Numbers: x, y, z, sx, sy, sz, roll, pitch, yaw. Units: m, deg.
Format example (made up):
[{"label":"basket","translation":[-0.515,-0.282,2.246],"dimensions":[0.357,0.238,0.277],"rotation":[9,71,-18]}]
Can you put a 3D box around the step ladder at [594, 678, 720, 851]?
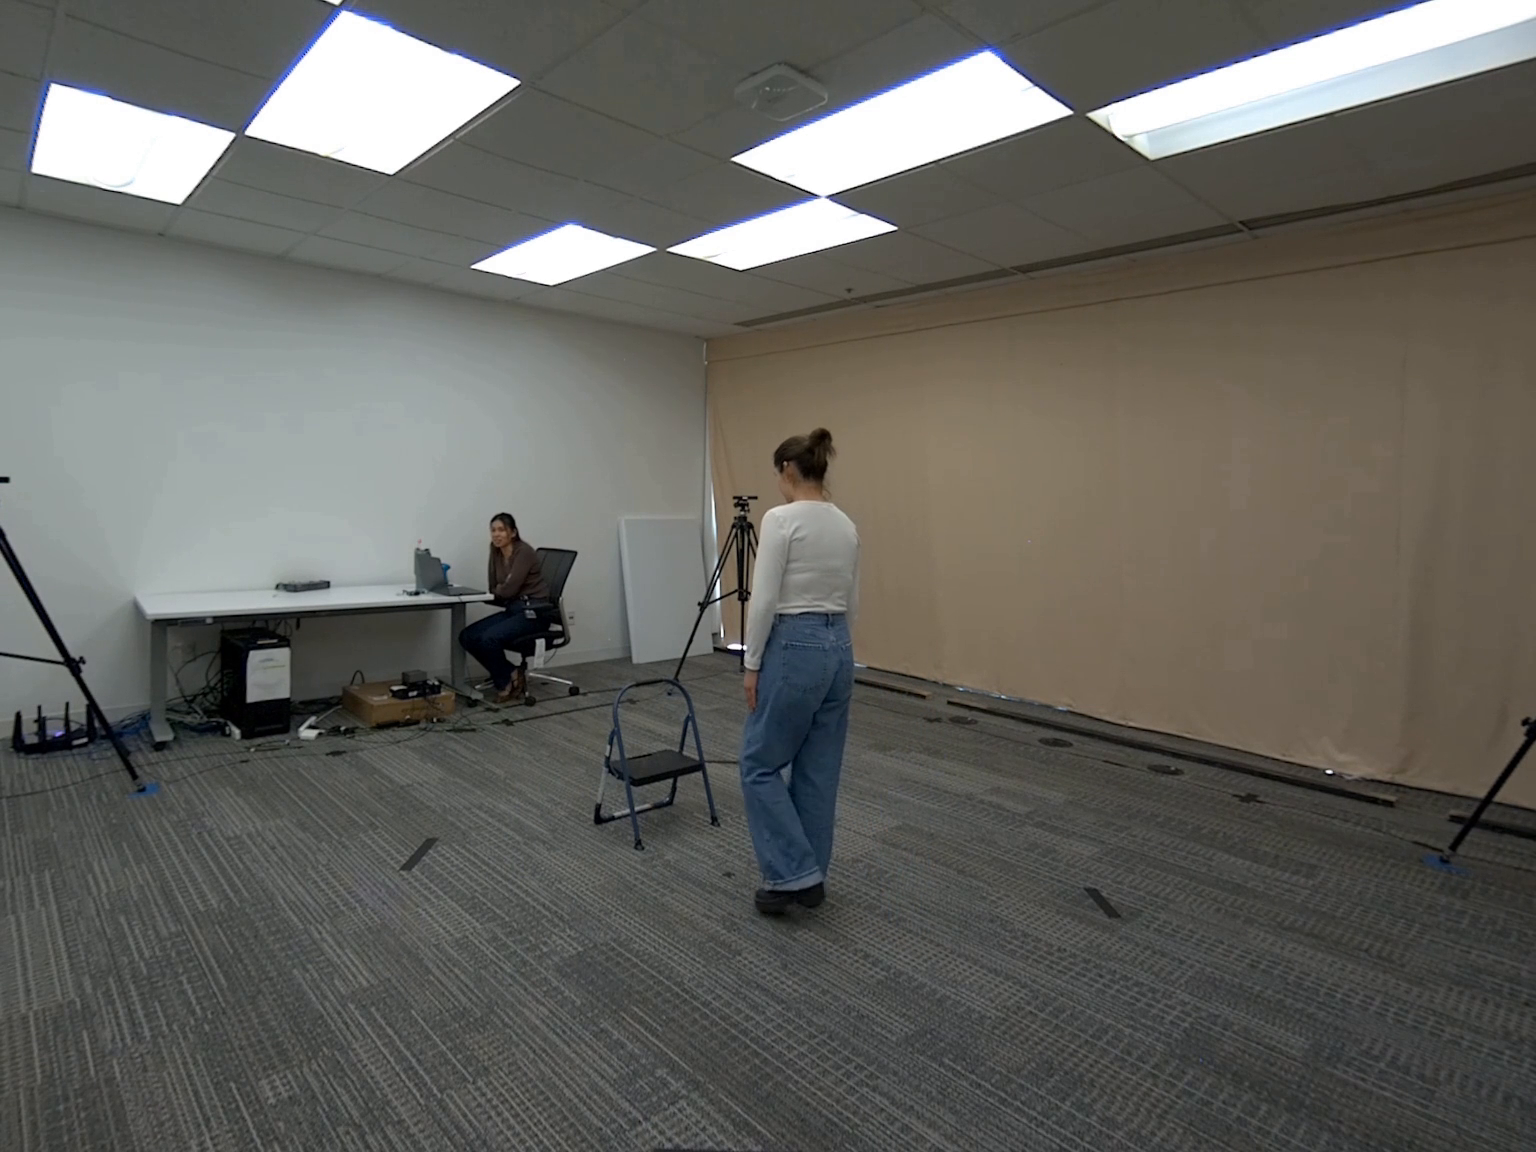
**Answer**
[{"label":"step ladder","translation":[-0.472,0.754,3.552],"dimensions":[0.421,0.605,0.358],"rotation":[-2,4,-44]}]
